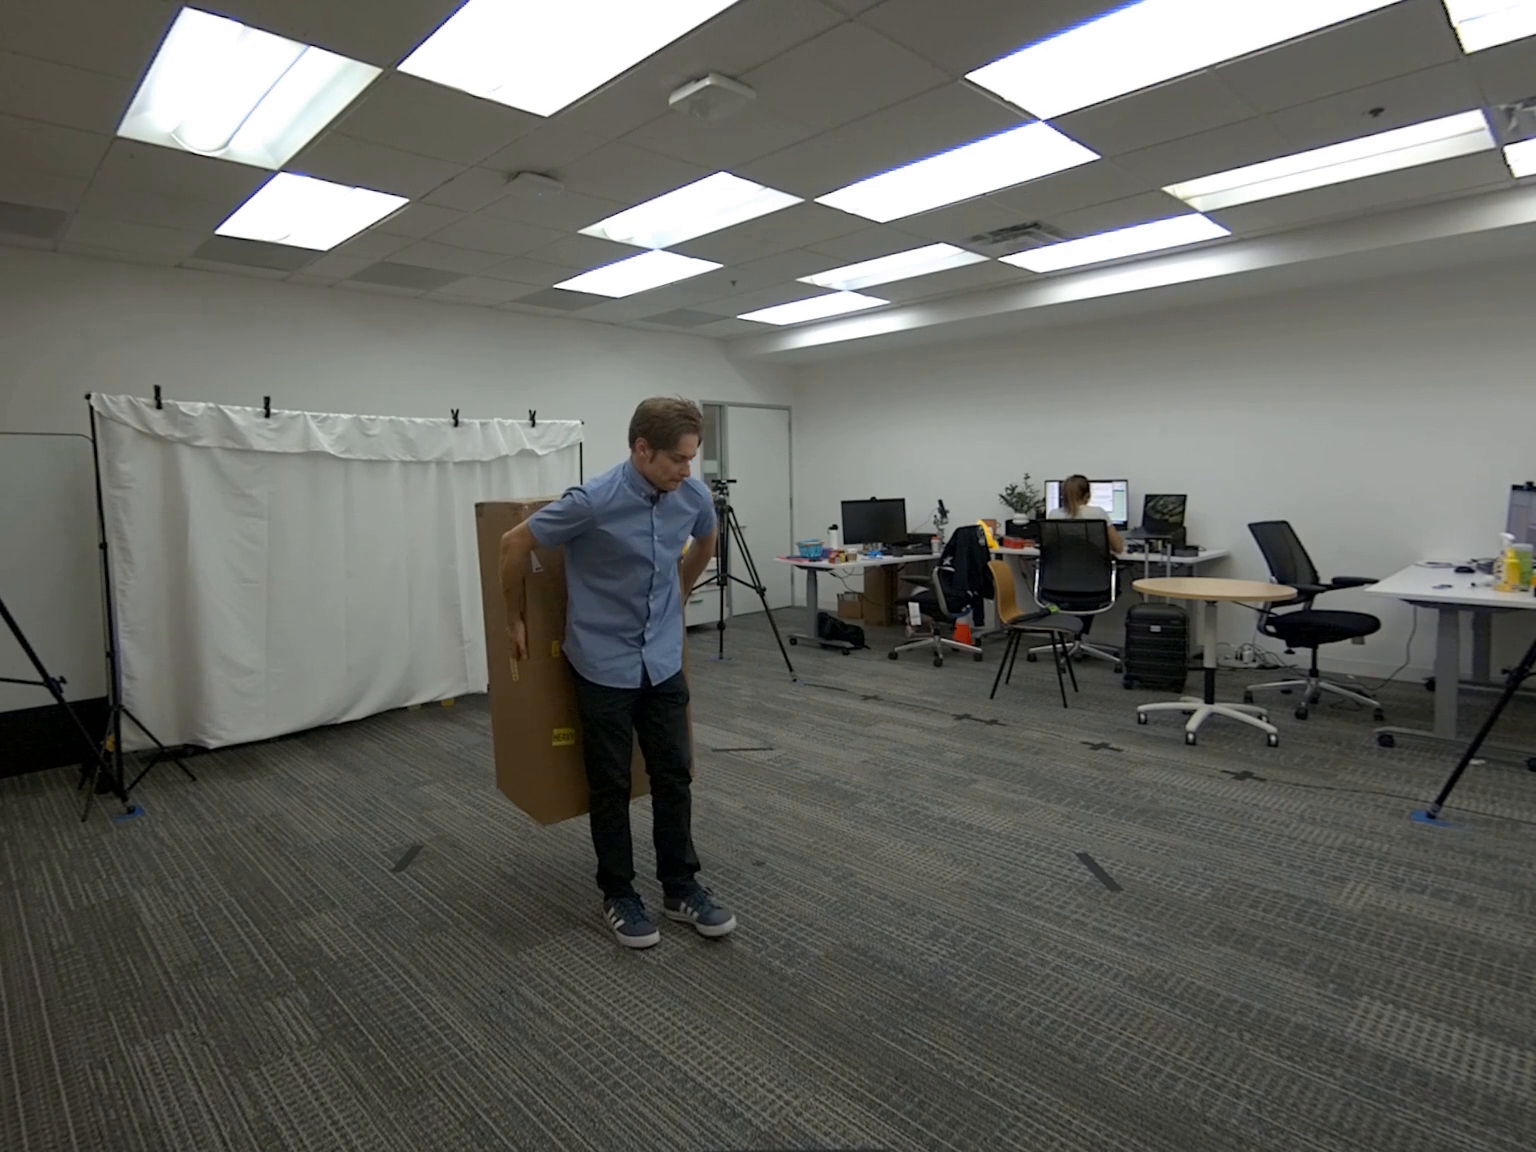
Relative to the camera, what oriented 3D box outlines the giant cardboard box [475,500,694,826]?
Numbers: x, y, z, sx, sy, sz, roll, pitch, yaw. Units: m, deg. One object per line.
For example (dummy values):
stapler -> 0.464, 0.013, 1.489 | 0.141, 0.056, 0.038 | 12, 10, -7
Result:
giant cardboard box -> -0.633, 0.238, 2.971 | 0.570, 1.023, 0.460 | -7, 6, -36
